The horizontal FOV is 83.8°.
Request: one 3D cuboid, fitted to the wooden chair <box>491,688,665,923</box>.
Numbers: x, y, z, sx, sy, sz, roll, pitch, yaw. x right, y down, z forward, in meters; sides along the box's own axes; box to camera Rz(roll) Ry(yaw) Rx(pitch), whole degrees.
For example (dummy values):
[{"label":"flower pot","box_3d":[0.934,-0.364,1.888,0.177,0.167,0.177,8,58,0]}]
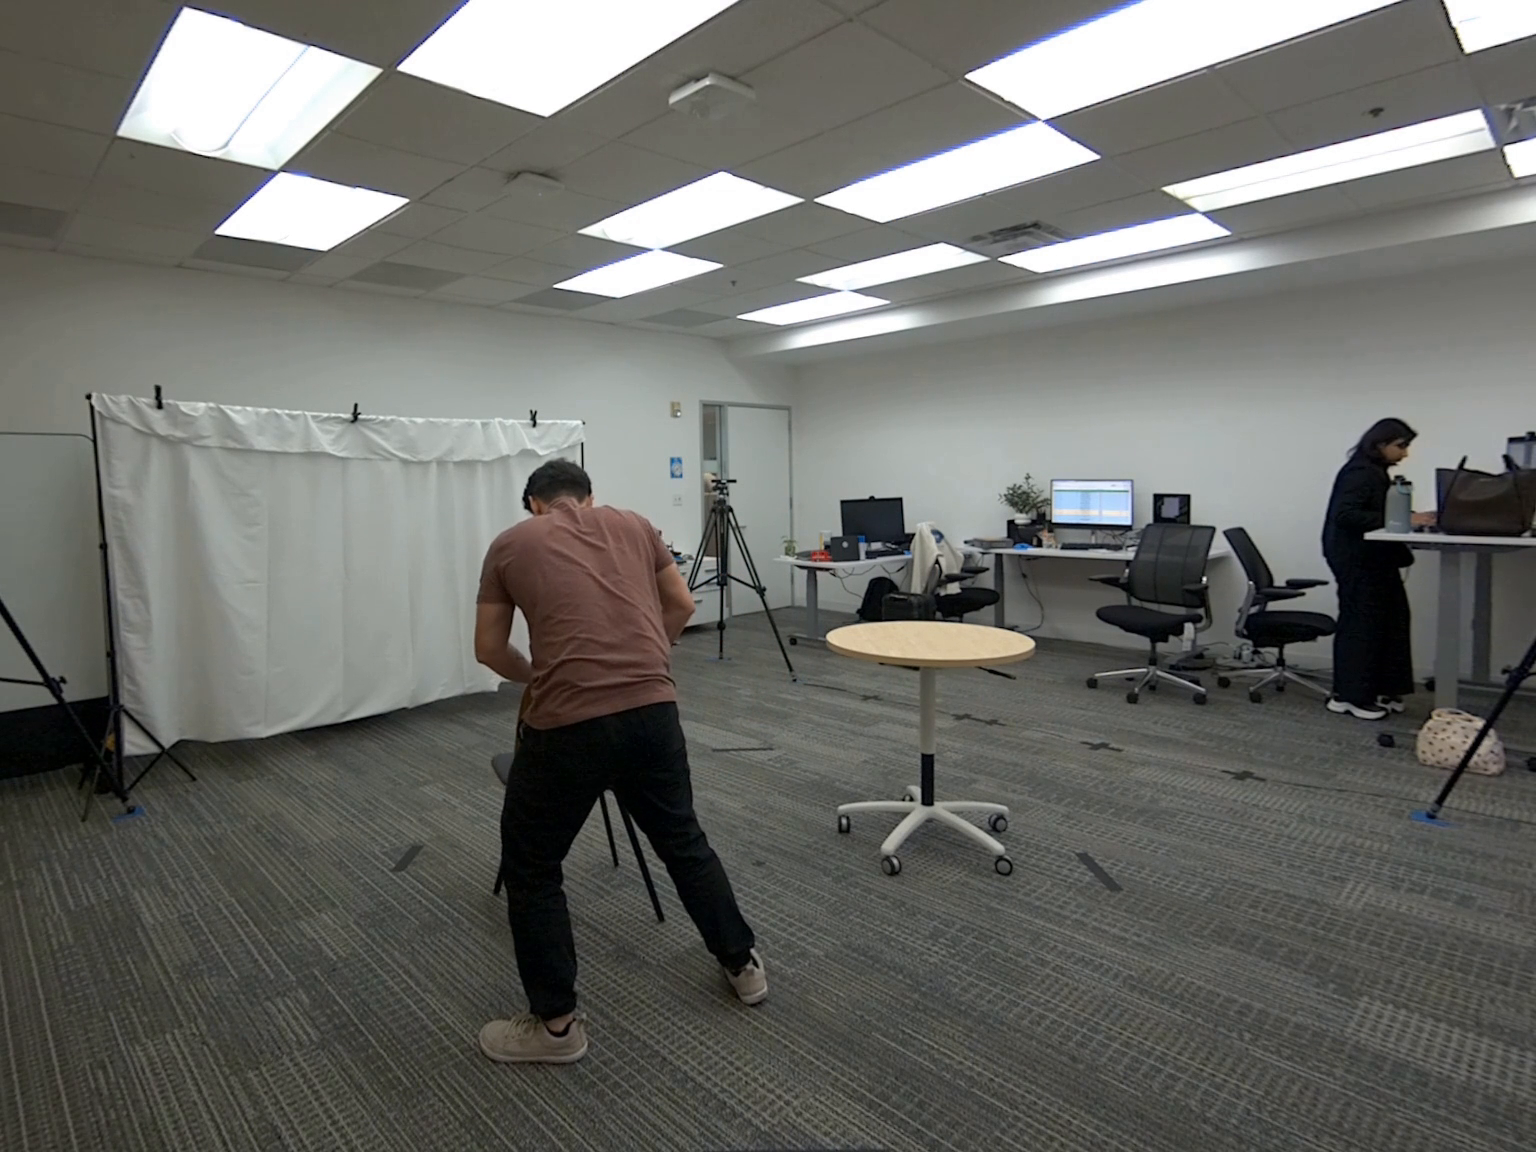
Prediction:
[{"label":"wooden chair","box_3d":[-0.638,0.669,2.799,0.468,0.871,0.539,-3,10,-27]}]
